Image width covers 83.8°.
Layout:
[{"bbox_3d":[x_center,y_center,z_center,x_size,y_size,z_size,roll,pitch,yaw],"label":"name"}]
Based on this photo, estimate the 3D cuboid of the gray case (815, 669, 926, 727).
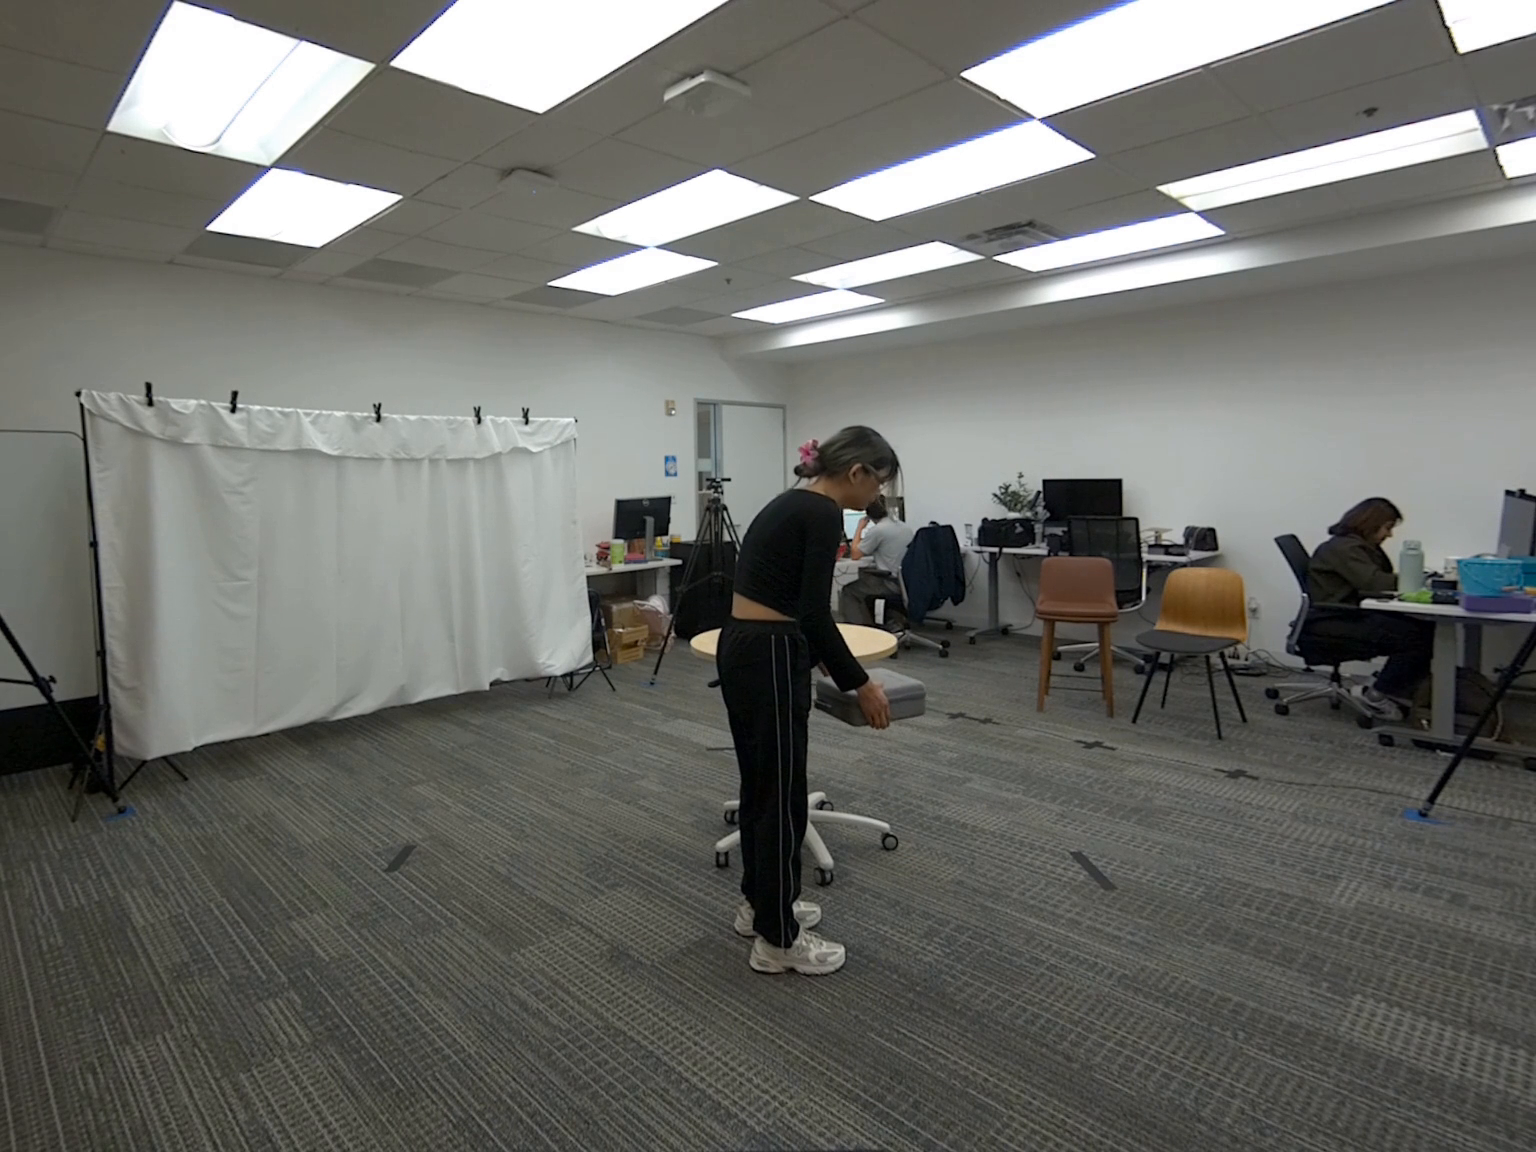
[{"bbox_3d":[0.290,0.360,2.548,0.257,0.104,0.262,-6,8,-19],"label":"gray case"}]
